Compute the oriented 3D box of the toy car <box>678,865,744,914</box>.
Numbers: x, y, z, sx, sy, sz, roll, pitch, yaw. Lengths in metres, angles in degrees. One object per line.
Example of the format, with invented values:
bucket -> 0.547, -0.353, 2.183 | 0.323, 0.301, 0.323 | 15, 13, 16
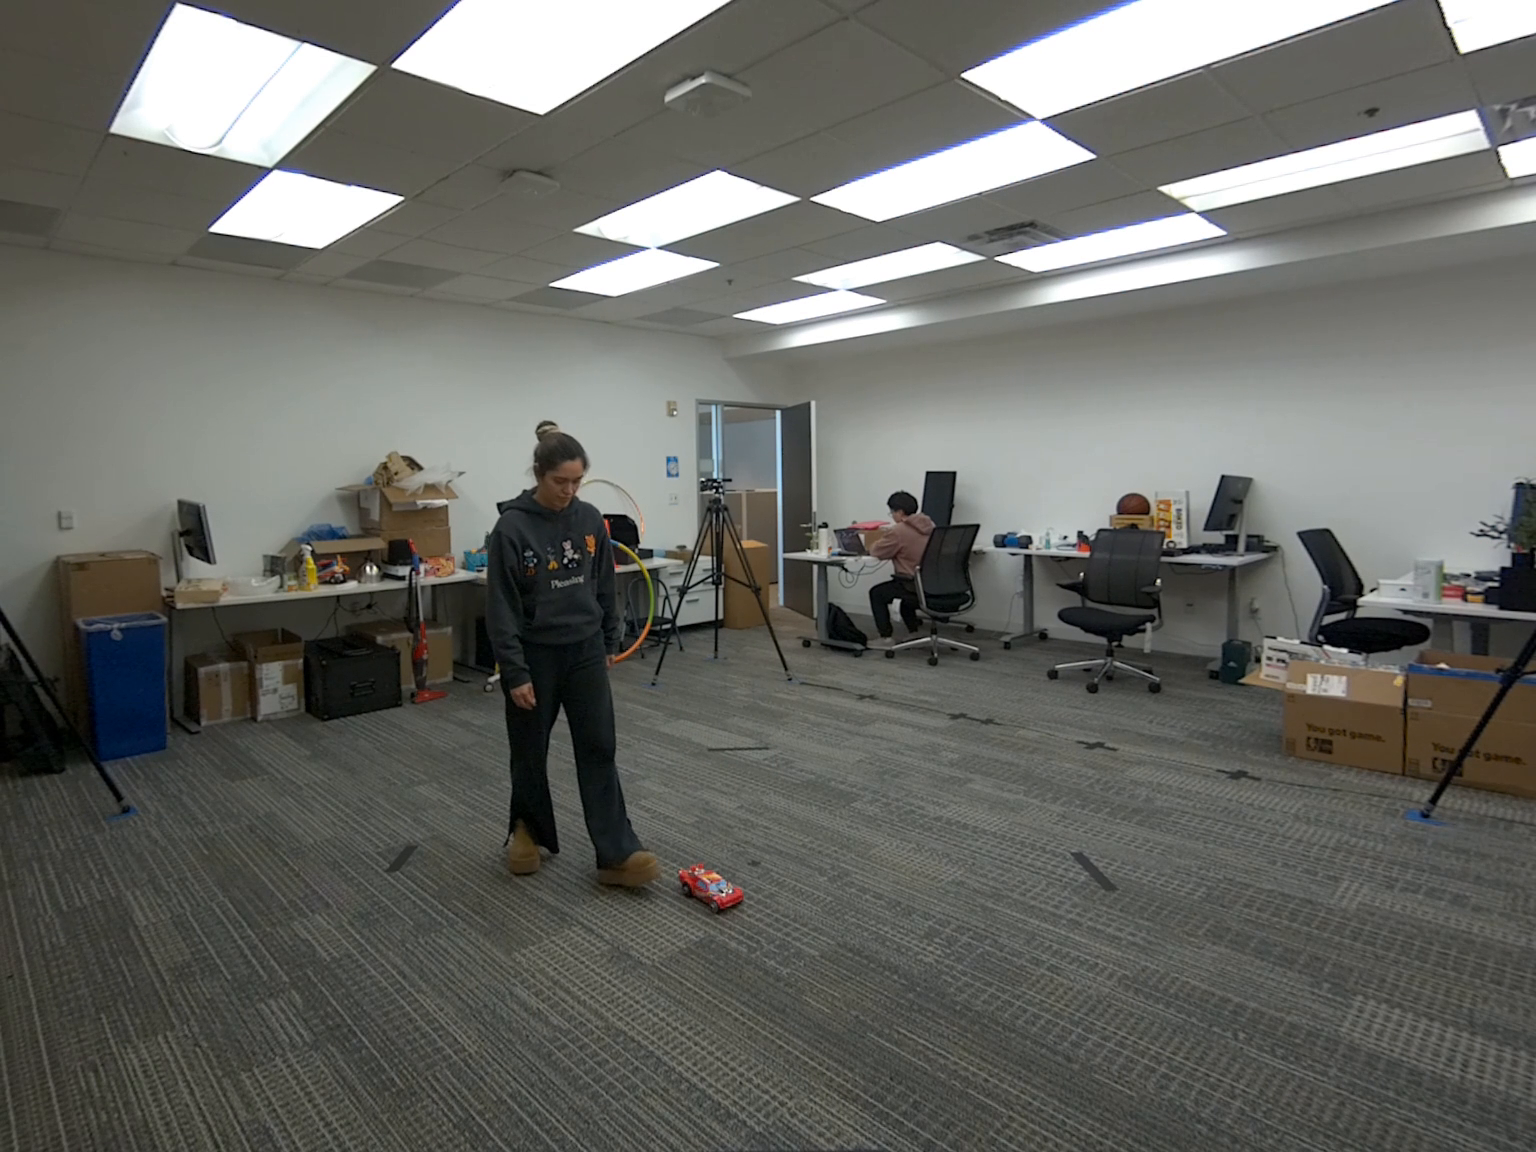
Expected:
toy car -> -0.196, 1.049, 2.844 | 0.127, 0.082, 0.264 | -6, 18, -39
